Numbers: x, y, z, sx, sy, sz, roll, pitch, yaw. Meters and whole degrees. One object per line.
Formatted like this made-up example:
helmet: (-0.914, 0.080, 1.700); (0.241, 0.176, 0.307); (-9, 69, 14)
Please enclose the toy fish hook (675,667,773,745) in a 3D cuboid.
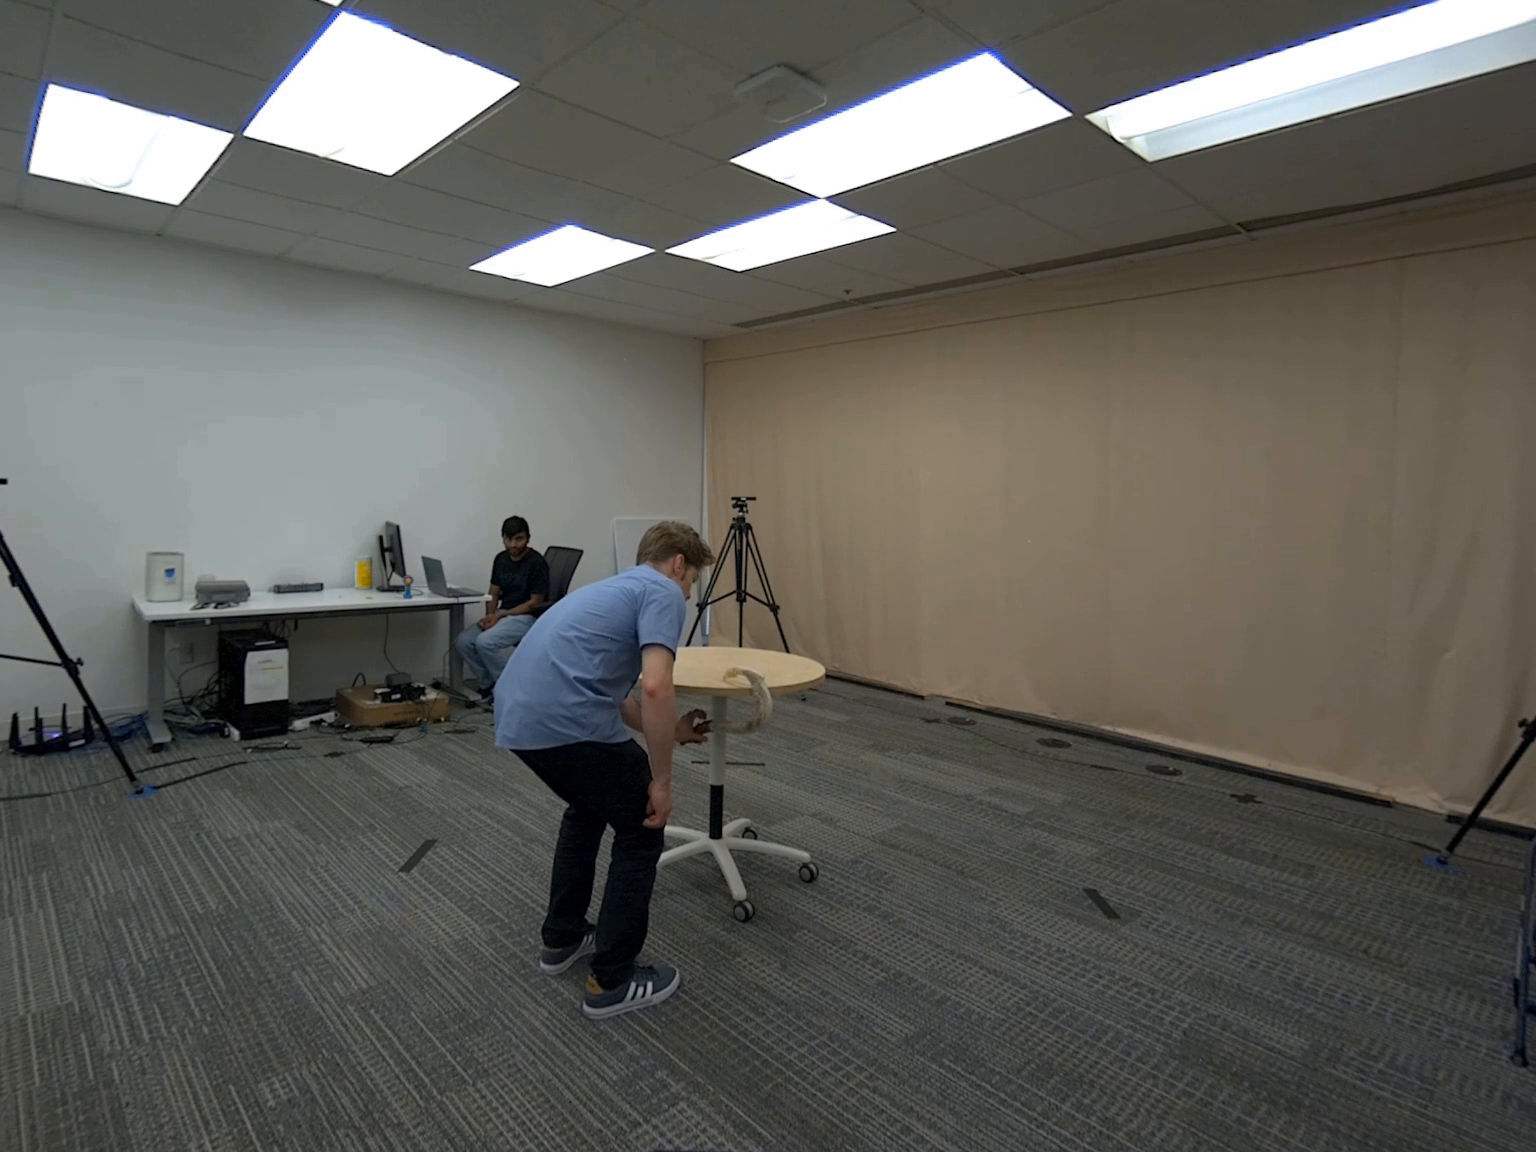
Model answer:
toy fish hook: (-0.169, 0.449, 2.818); (0.047, 0.228, 0.512); (9, -25, -41)
